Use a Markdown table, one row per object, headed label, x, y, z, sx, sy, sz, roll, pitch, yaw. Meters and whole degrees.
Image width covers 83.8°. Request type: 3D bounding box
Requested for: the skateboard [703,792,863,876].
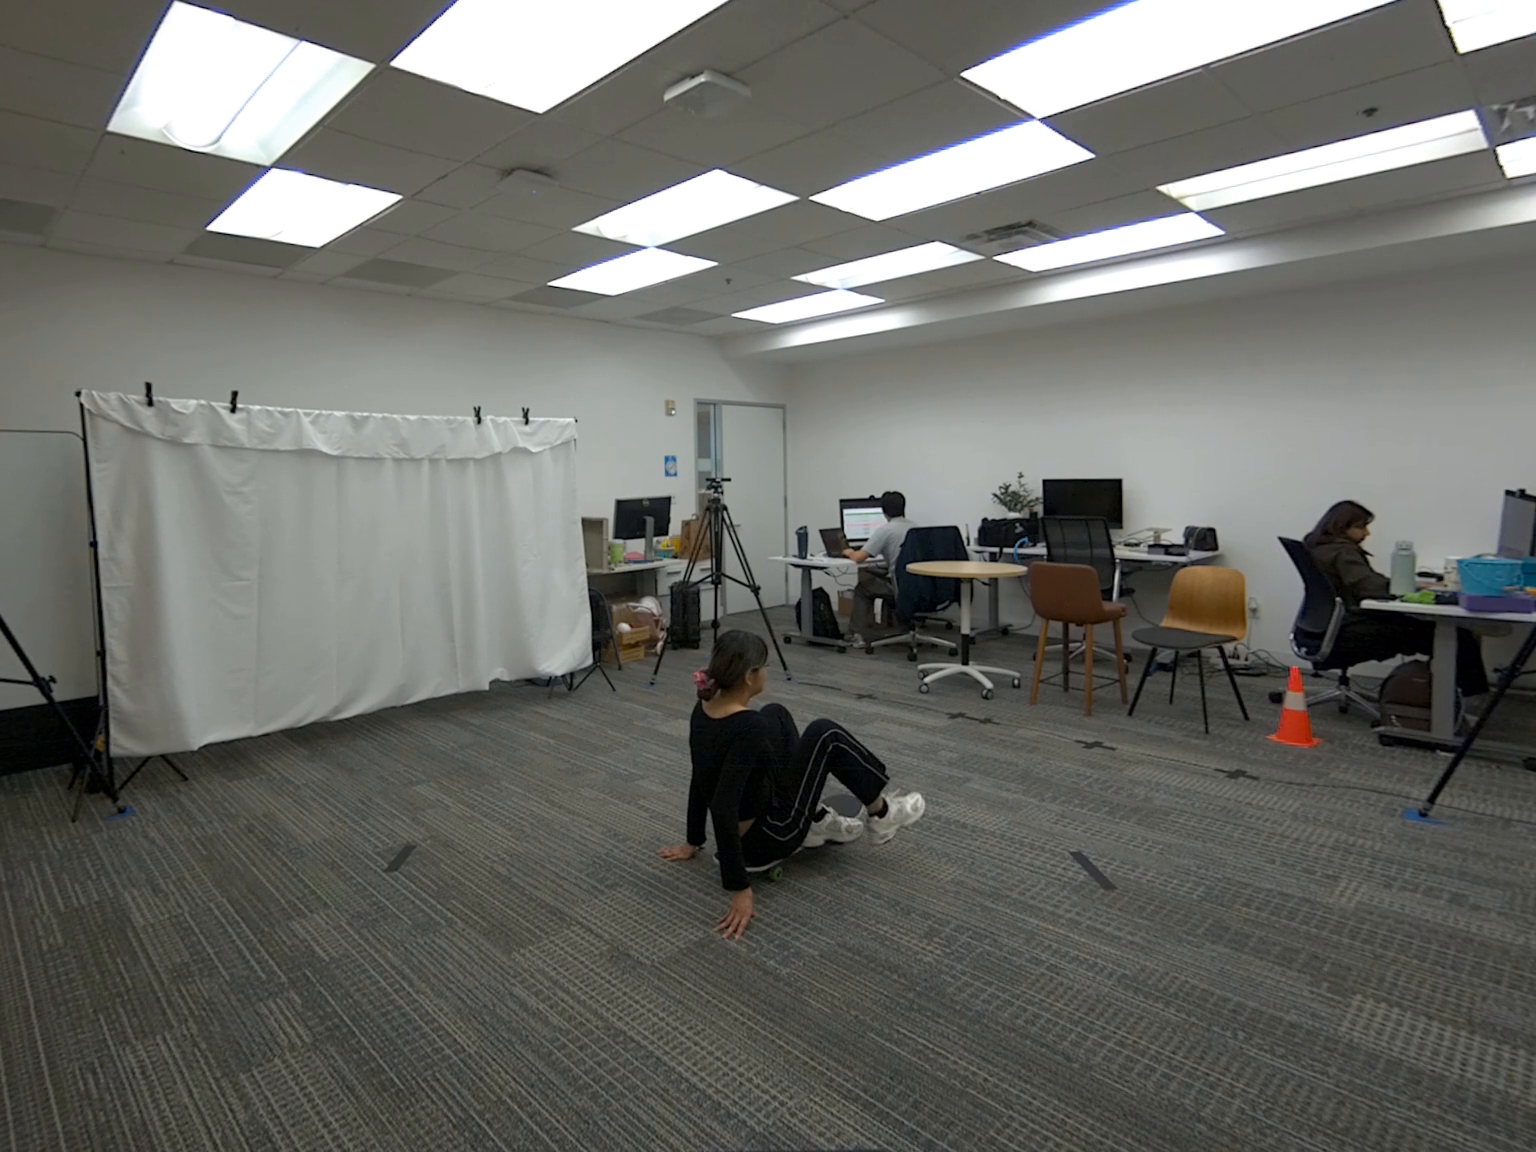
| label | x | y | z | sx | sy | sz | roll | pitch | yaw |
| --- | --- | --- | --- | --- | --- | --- | --- | --- | --- |
| skateboard | 0.110 | 0.975 | 3.171 | 0.199 | 0.110 | 0.767 | 4 | 10 | 38 |
